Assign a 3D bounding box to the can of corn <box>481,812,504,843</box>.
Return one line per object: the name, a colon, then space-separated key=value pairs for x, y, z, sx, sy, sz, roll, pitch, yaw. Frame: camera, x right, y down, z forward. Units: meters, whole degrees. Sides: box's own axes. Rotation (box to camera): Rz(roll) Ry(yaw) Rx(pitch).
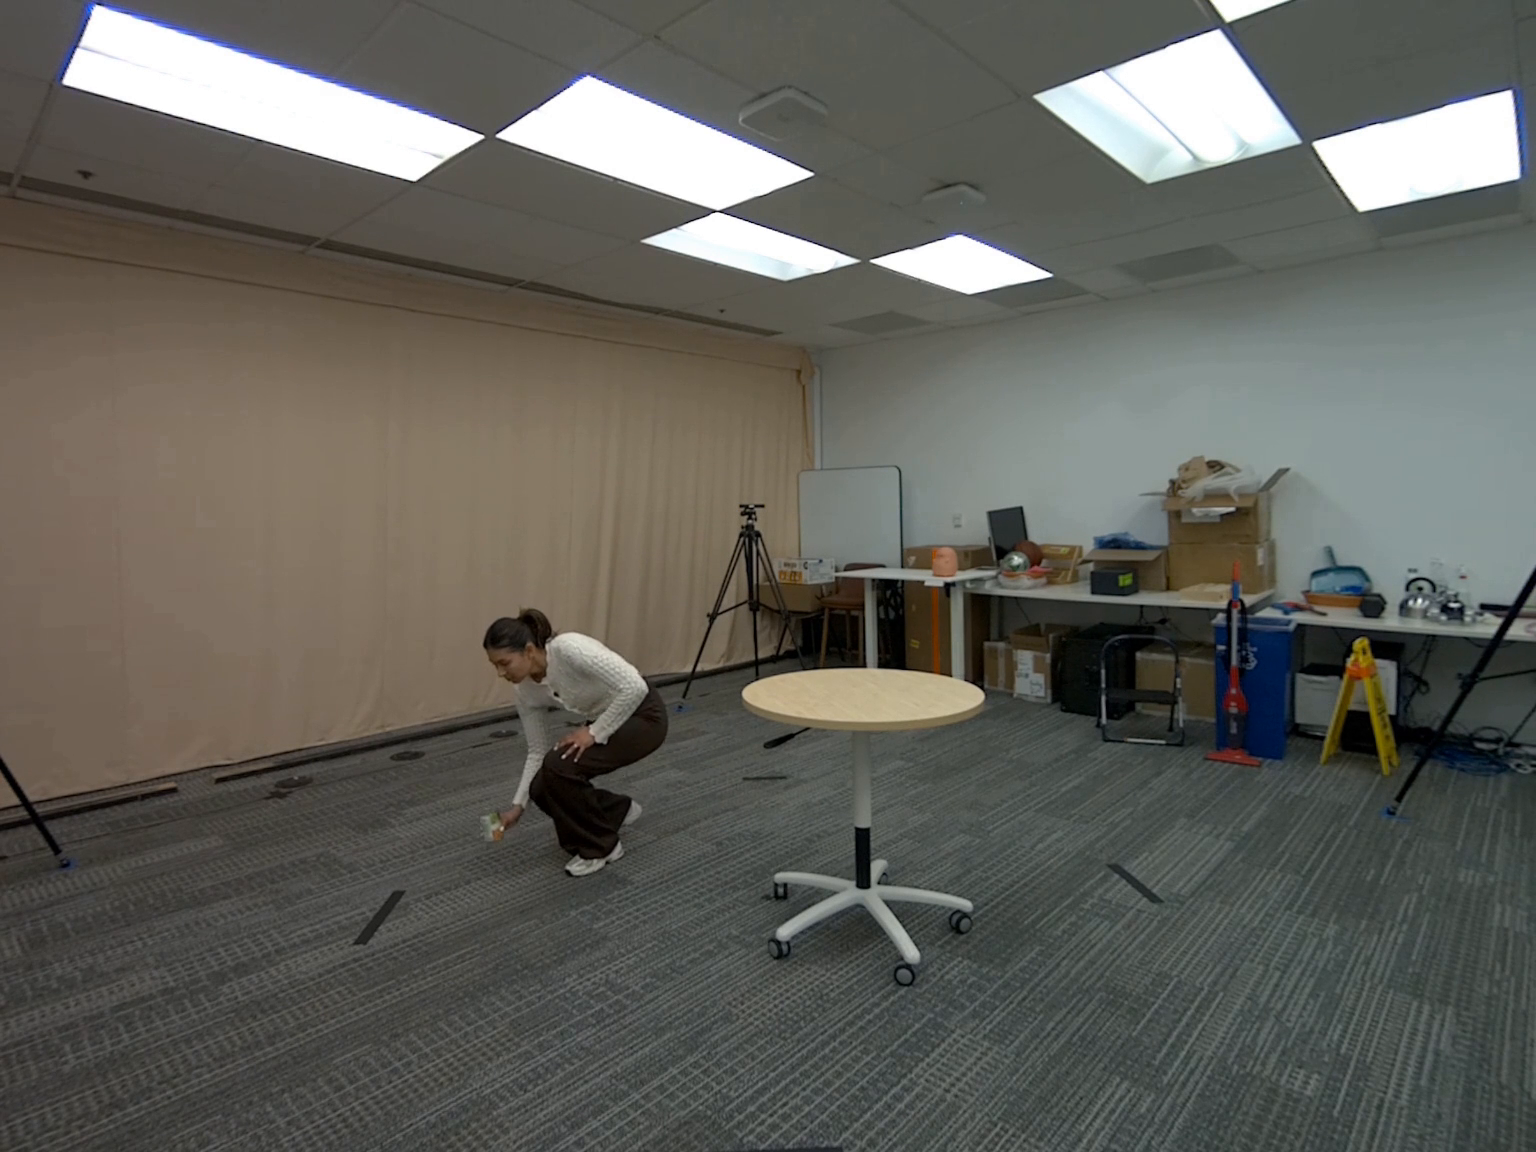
can of corn: x=-1.044 y=0.944 z=3.199 sx=0.074 sy=0.111 sz=0.074 roll=-4 pitch=-1 yaw=-2
